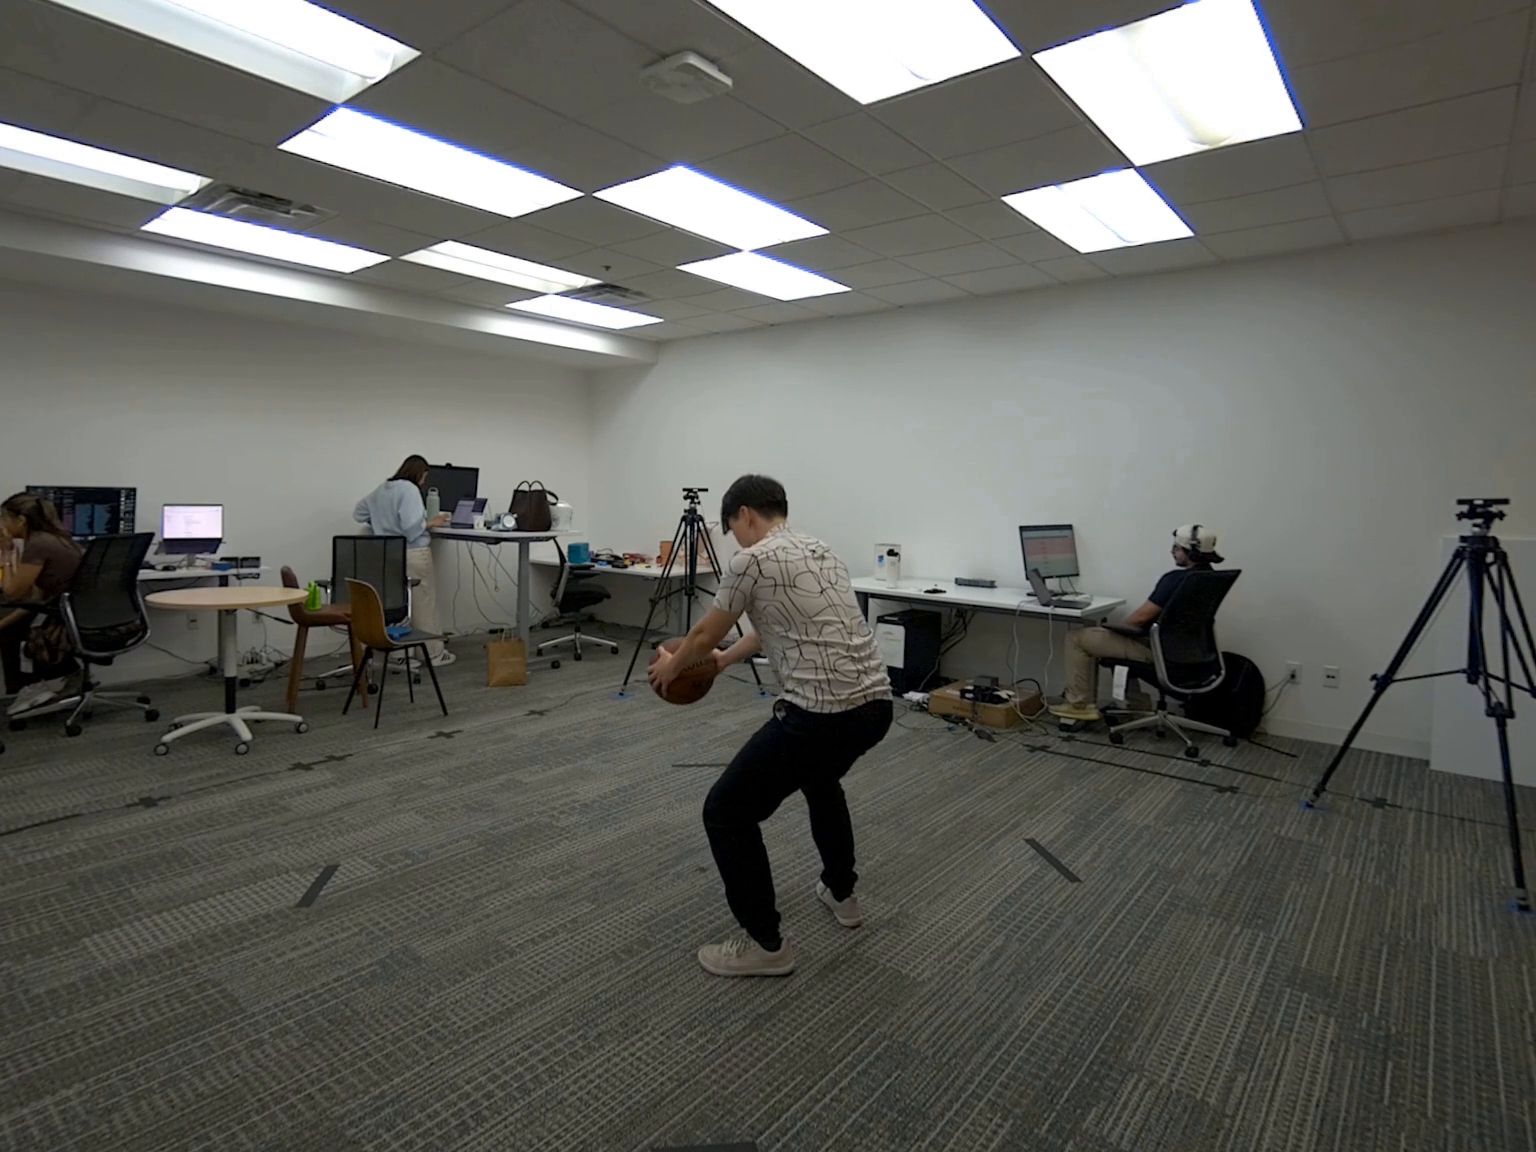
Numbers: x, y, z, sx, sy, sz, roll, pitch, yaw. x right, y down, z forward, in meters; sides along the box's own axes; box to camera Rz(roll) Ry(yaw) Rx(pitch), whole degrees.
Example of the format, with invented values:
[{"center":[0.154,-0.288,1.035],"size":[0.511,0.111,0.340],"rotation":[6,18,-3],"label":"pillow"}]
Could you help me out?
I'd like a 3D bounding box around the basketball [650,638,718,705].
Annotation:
[{"center":[-0.311,0.334,3.003],"size":[0.235,0.235,0.237],"rotation":[1,4,-2],"label":"basketball"}]
